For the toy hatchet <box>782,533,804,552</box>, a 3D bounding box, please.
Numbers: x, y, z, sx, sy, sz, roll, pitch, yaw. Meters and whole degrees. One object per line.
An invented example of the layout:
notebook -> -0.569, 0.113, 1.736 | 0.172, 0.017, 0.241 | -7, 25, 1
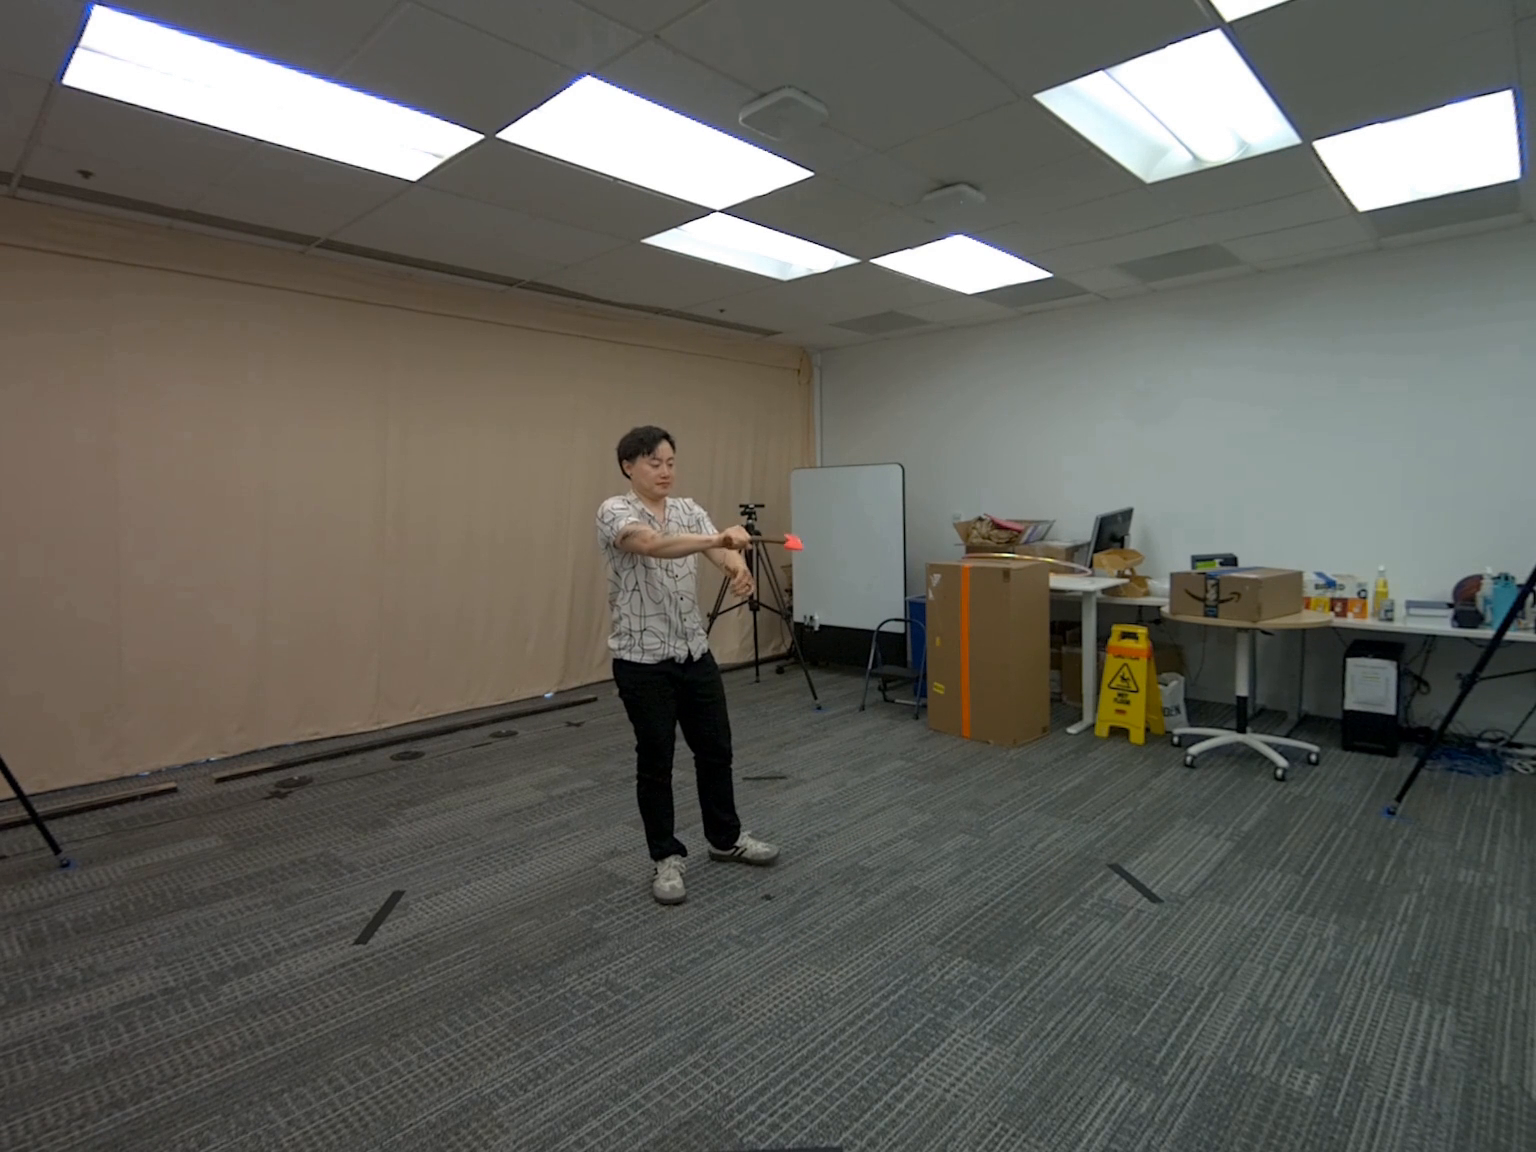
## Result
toy hatchet -> -0.002, -0.097, 2.625 | 0.262, 0.029, 0.136 | -5, 28, -39
